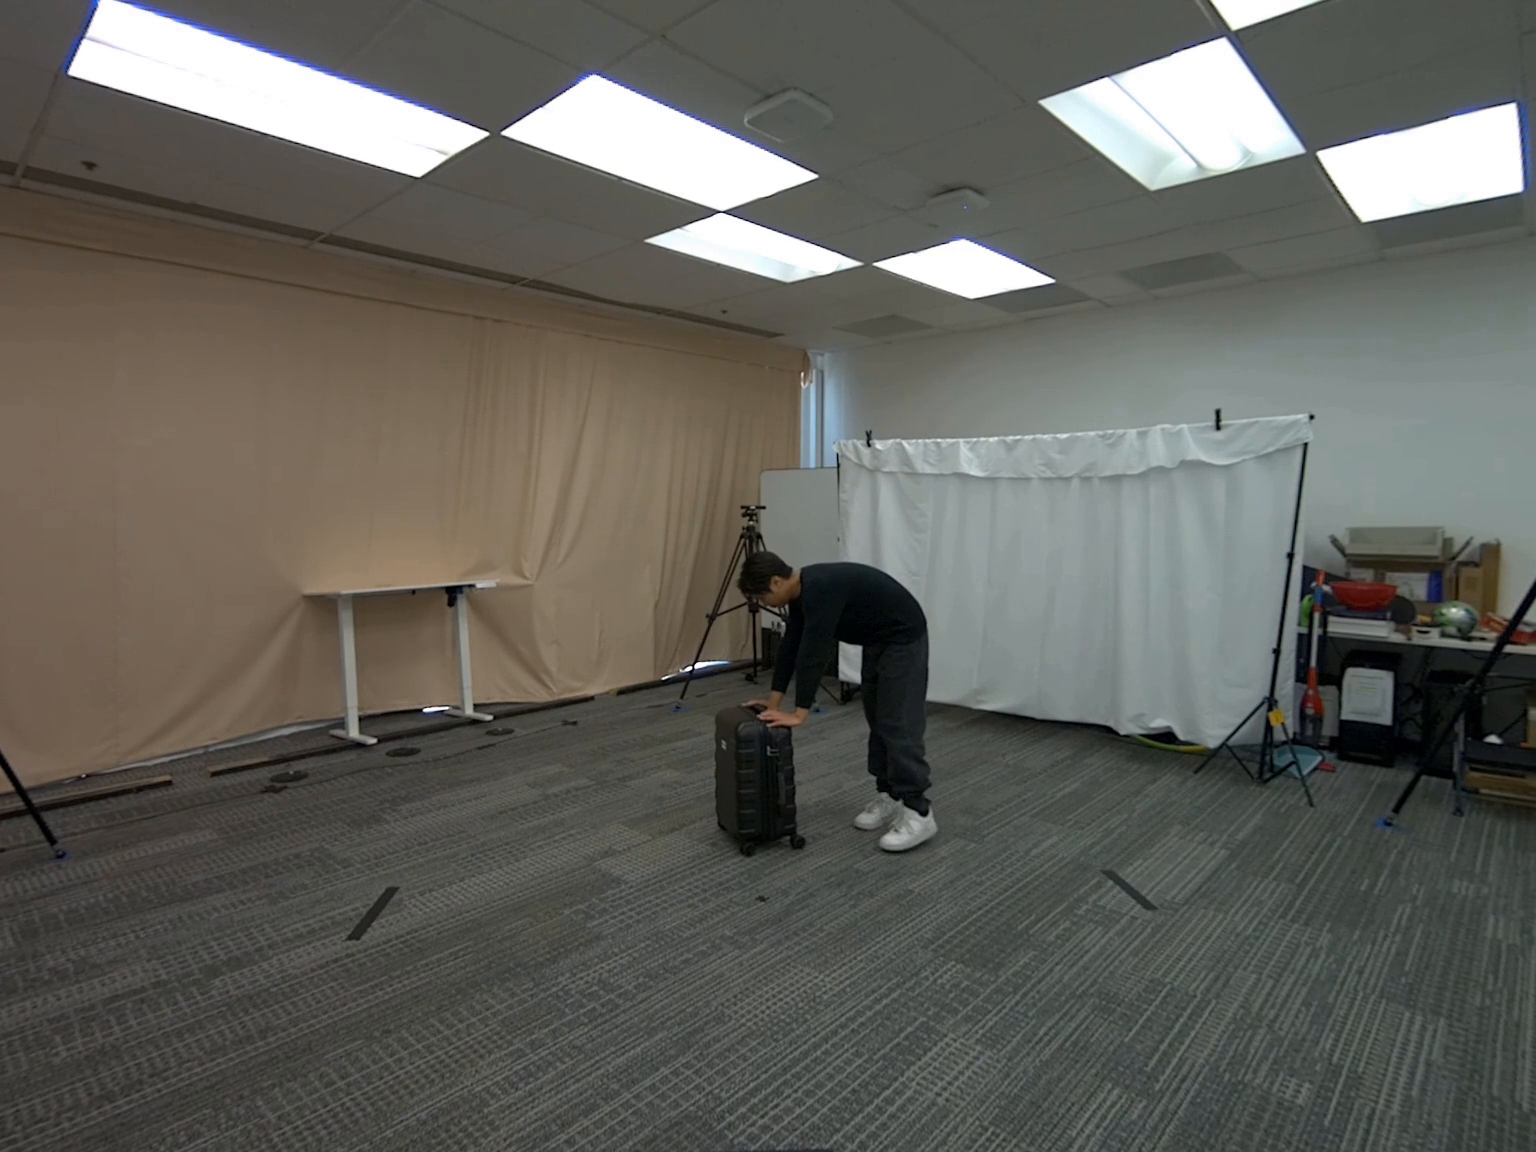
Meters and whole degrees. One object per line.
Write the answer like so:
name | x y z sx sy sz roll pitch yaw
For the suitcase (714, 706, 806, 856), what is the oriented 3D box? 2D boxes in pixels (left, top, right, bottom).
suitcase | -0.054 0.828 3.504 0.244 0.548 0.383 -3 4 -20
